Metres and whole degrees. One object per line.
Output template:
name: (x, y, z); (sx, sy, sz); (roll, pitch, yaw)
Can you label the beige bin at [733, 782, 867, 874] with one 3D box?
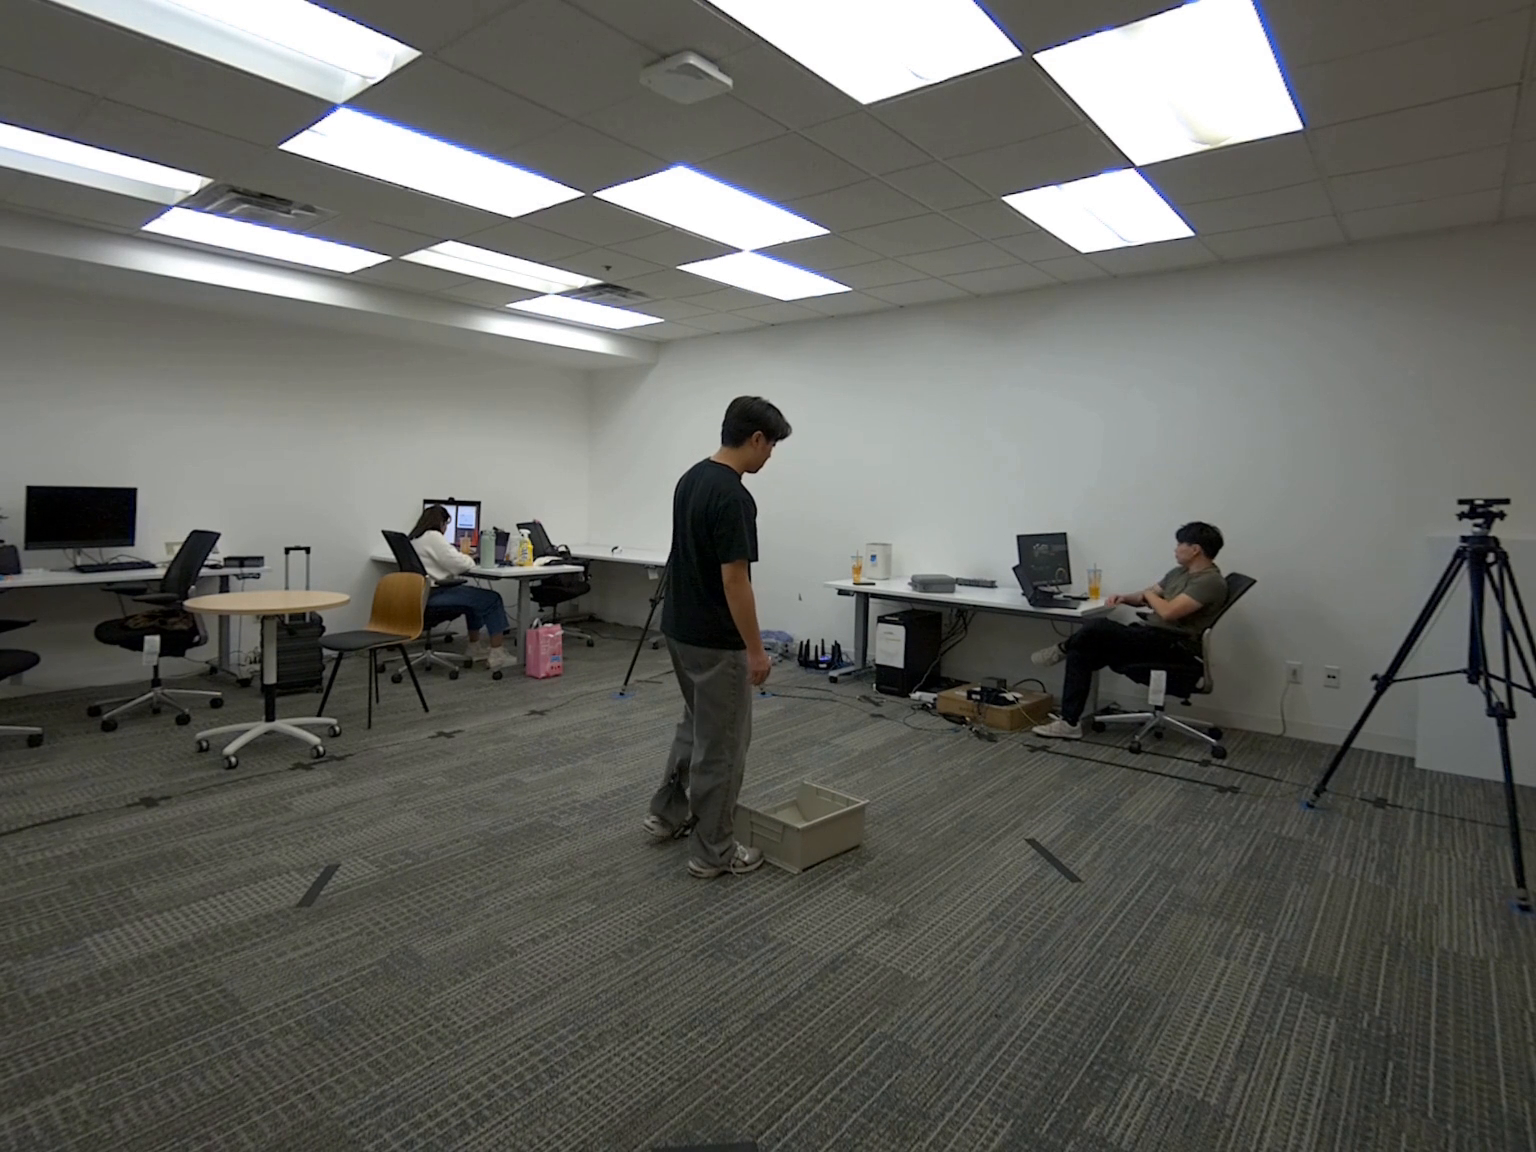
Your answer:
beige bin: (0.115, 0.967, 3.342); (0.391, 0.188, 0.409); (7, 8, 44)
